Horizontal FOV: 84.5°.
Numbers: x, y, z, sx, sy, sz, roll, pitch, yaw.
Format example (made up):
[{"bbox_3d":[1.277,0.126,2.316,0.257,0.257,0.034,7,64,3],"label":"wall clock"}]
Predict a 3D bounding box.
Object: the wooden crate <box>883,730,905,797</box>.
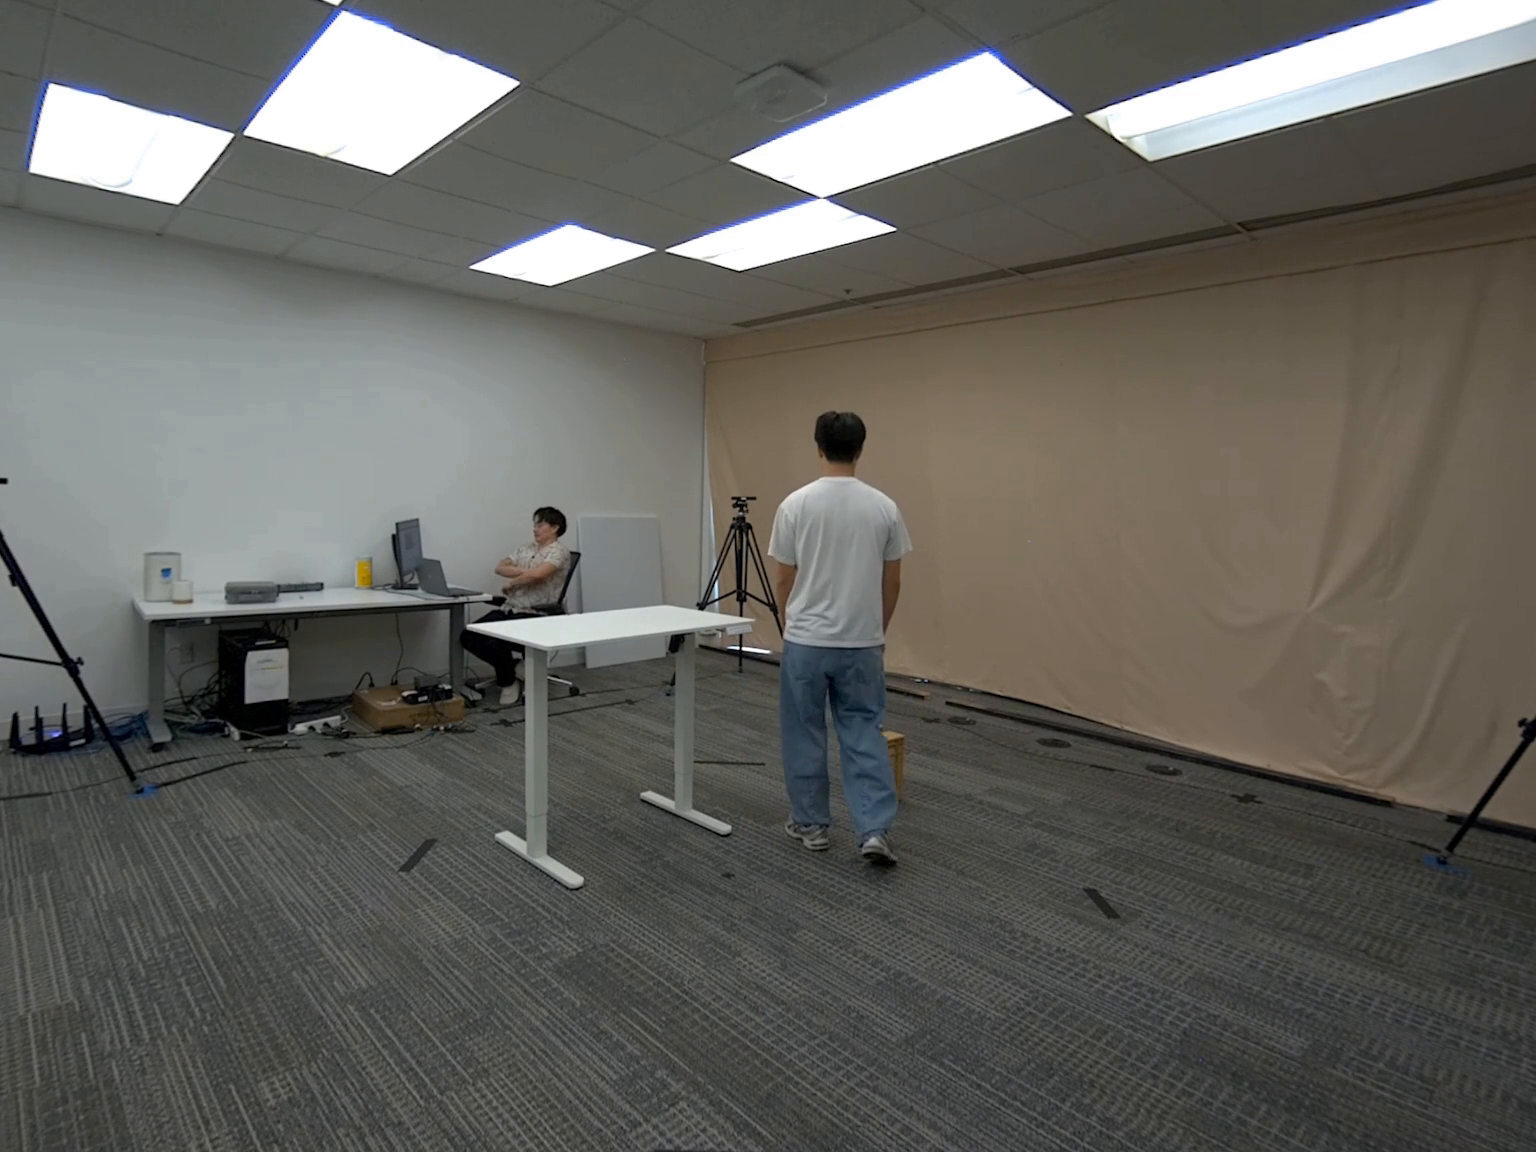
[{"bbox_3d":[0.466,0.886,3.973,0.295,0.323,0.280,0,5,-42],"label":"wooden crate"}]
